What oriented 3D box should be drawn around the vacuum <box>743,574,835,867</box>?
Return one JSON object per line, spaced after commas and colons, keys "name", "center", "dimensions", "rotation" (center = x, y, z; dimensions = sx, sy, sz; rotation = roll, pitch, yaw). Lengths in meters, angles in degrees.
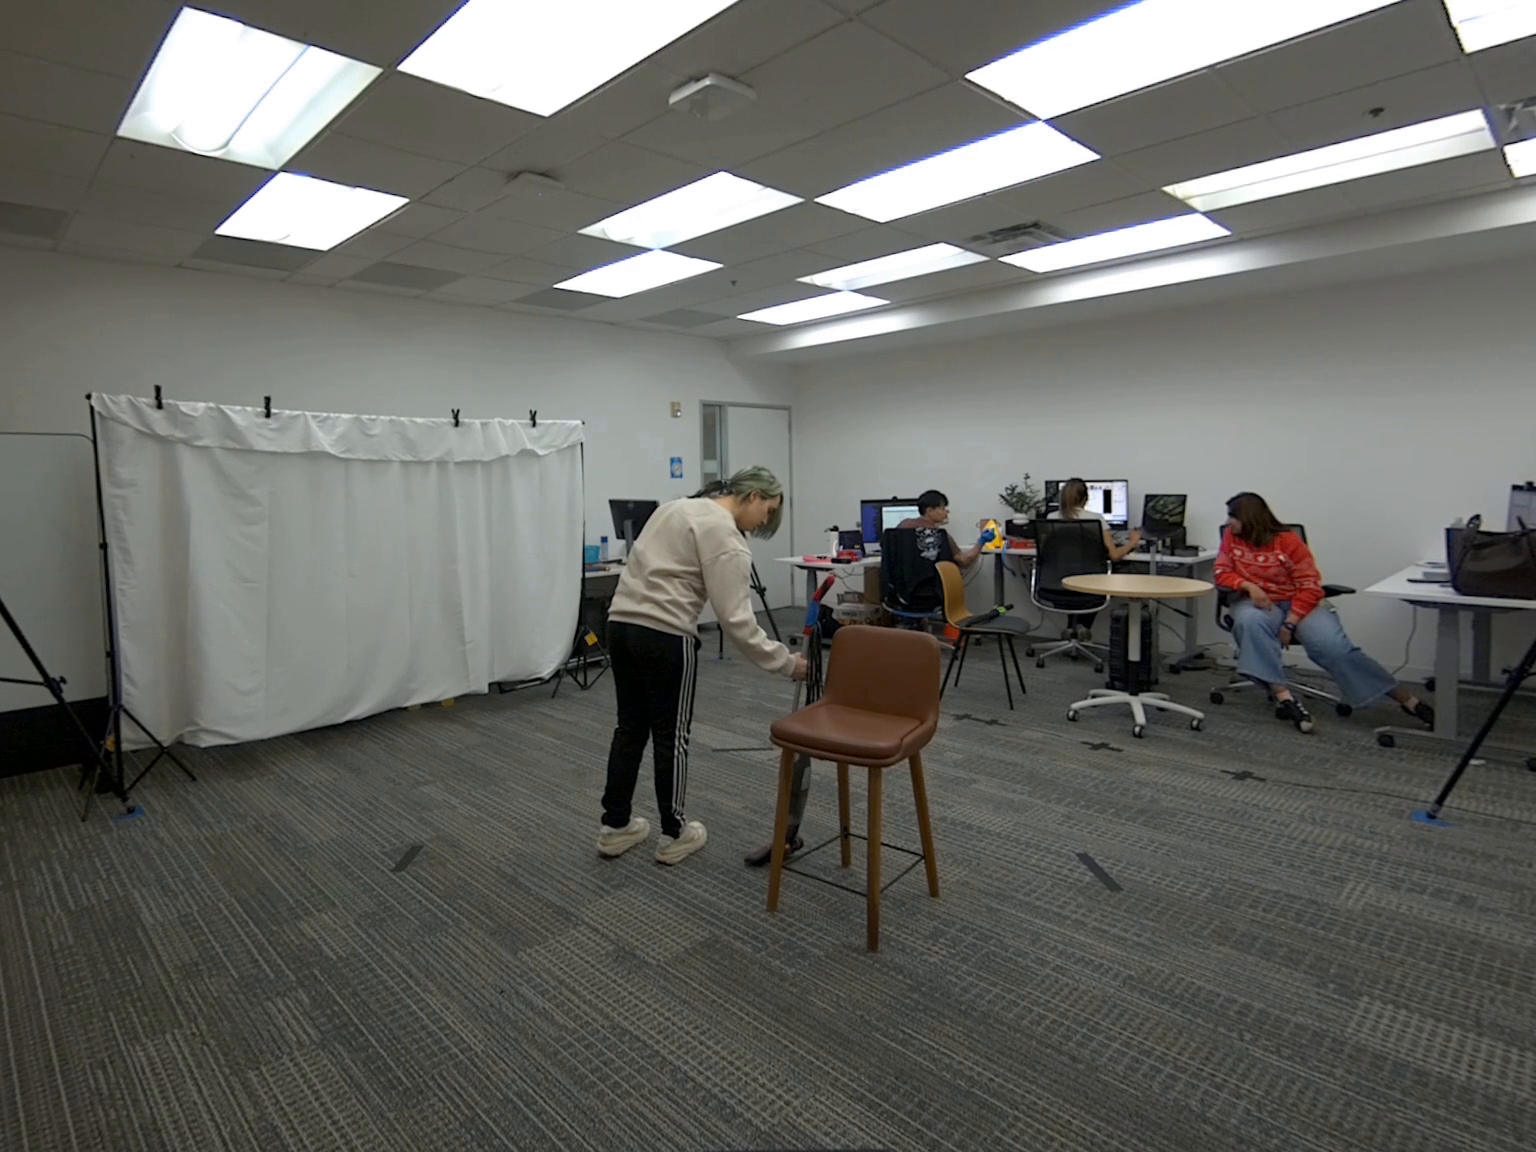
{"name": "vacuum", "center": [0.123, 0.523, 3.067], "dimensions": [0.149, 1.041, 0.246], "rotation": [18, 13, 37]}
